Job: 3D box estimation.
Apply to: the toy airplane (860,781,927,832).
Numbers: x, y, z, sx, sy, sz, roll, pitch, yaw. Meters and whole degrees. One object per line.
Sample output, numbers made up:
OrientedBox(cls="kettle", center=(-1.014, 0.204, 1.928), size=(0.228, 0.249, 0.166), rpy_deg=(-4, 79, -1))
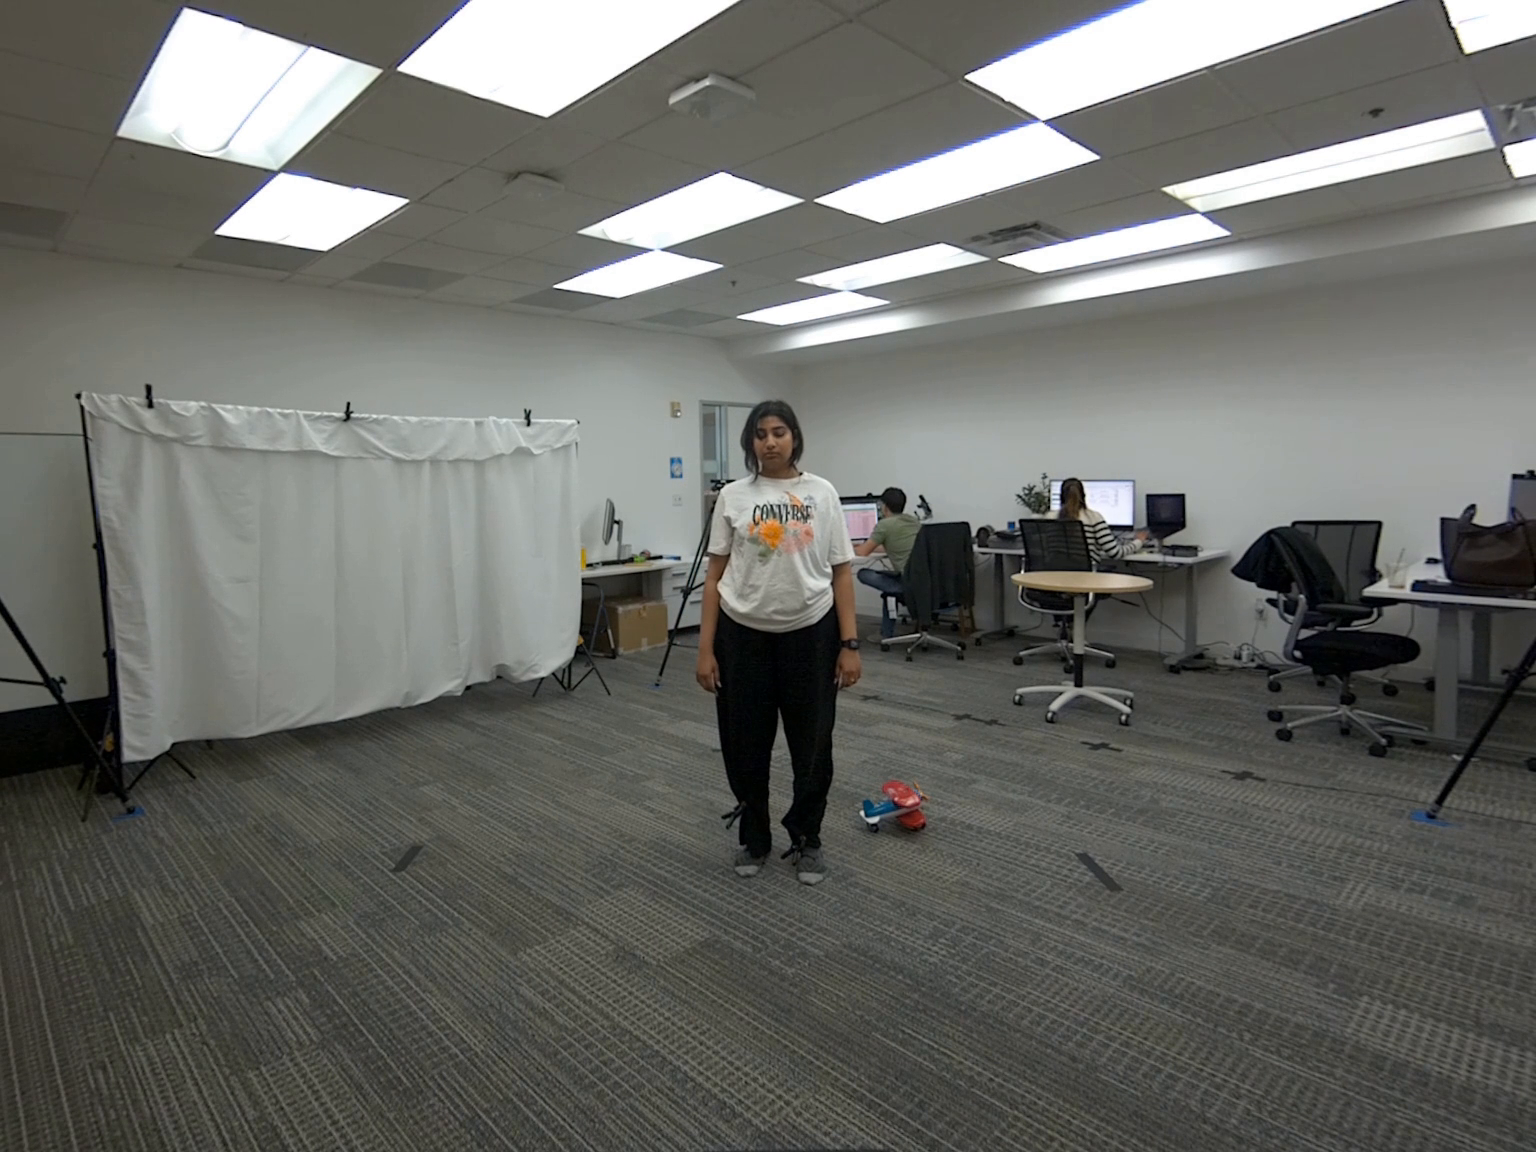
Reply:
OrientedBox(cls="toy airplane", center=(0.518, 0.933, 3.389), size=(0.252, 0.156, 0.259), rpy_deg=(-6, 7, -41))
